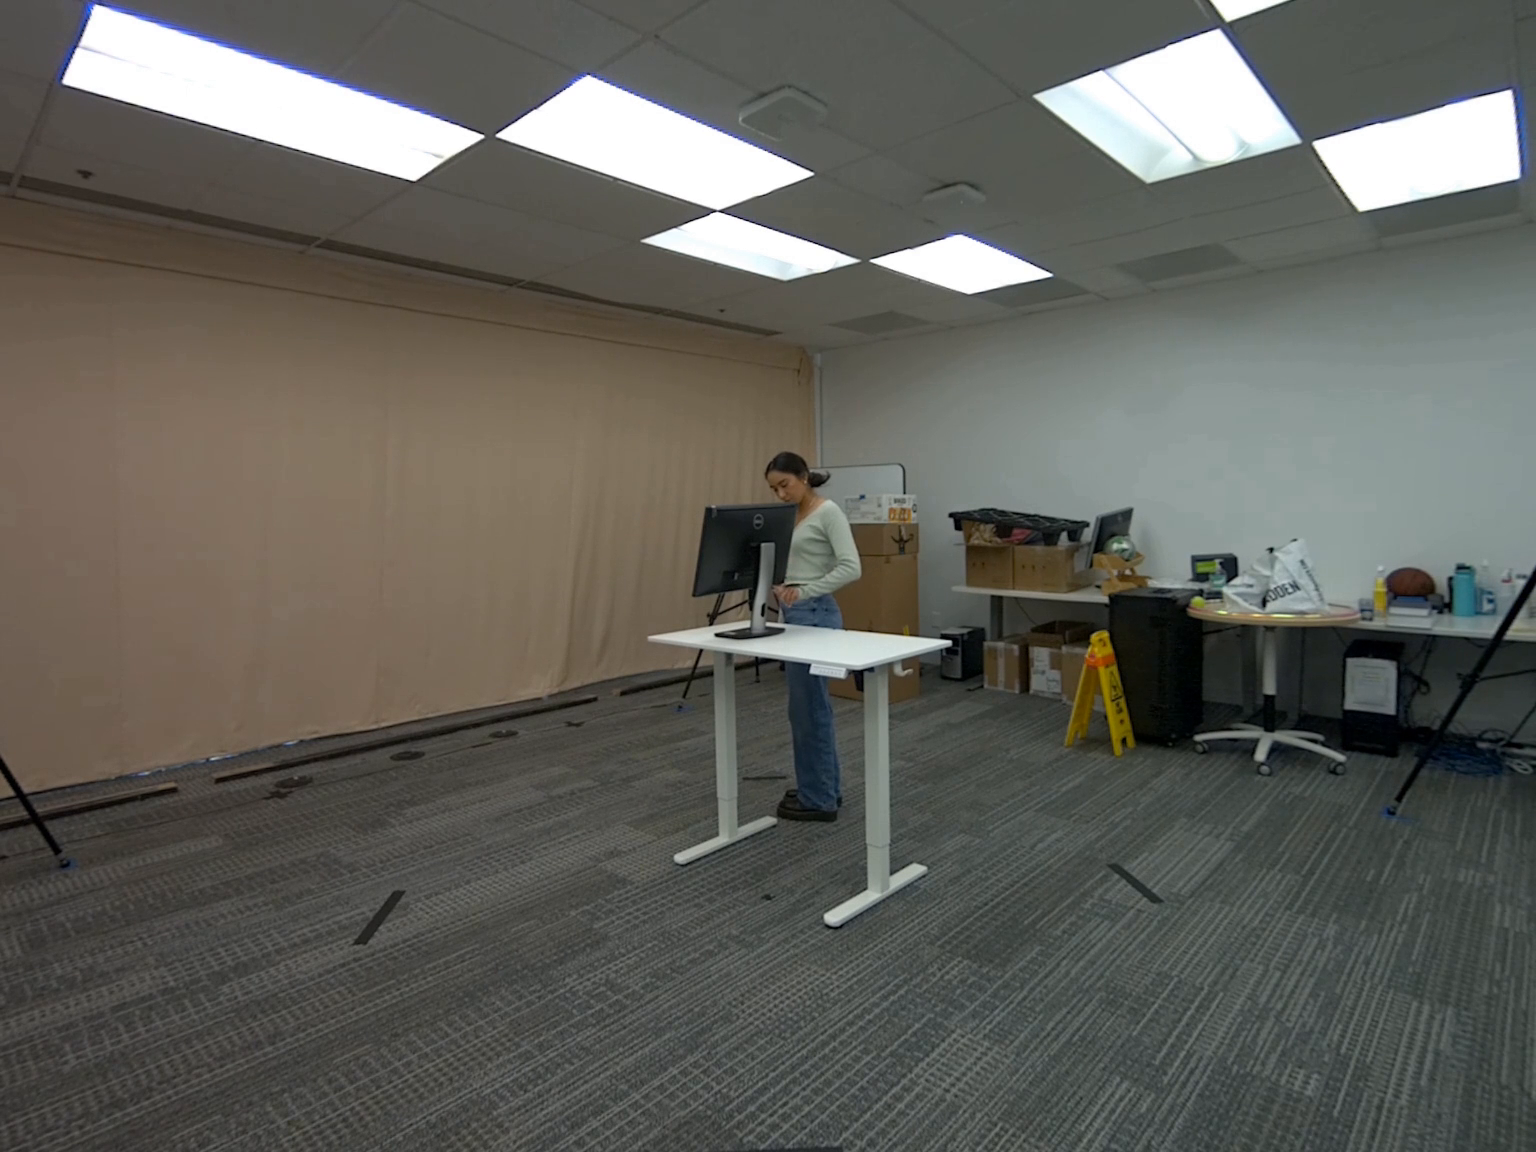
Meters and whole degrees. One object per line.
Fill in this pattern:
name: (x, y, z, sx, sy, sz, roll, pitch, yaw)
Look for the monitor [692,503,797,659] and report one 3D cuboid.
monitor: (-0.057, -0.019, 3.307, 0.193, 0.521, 0.523, 4, 7, 40)
